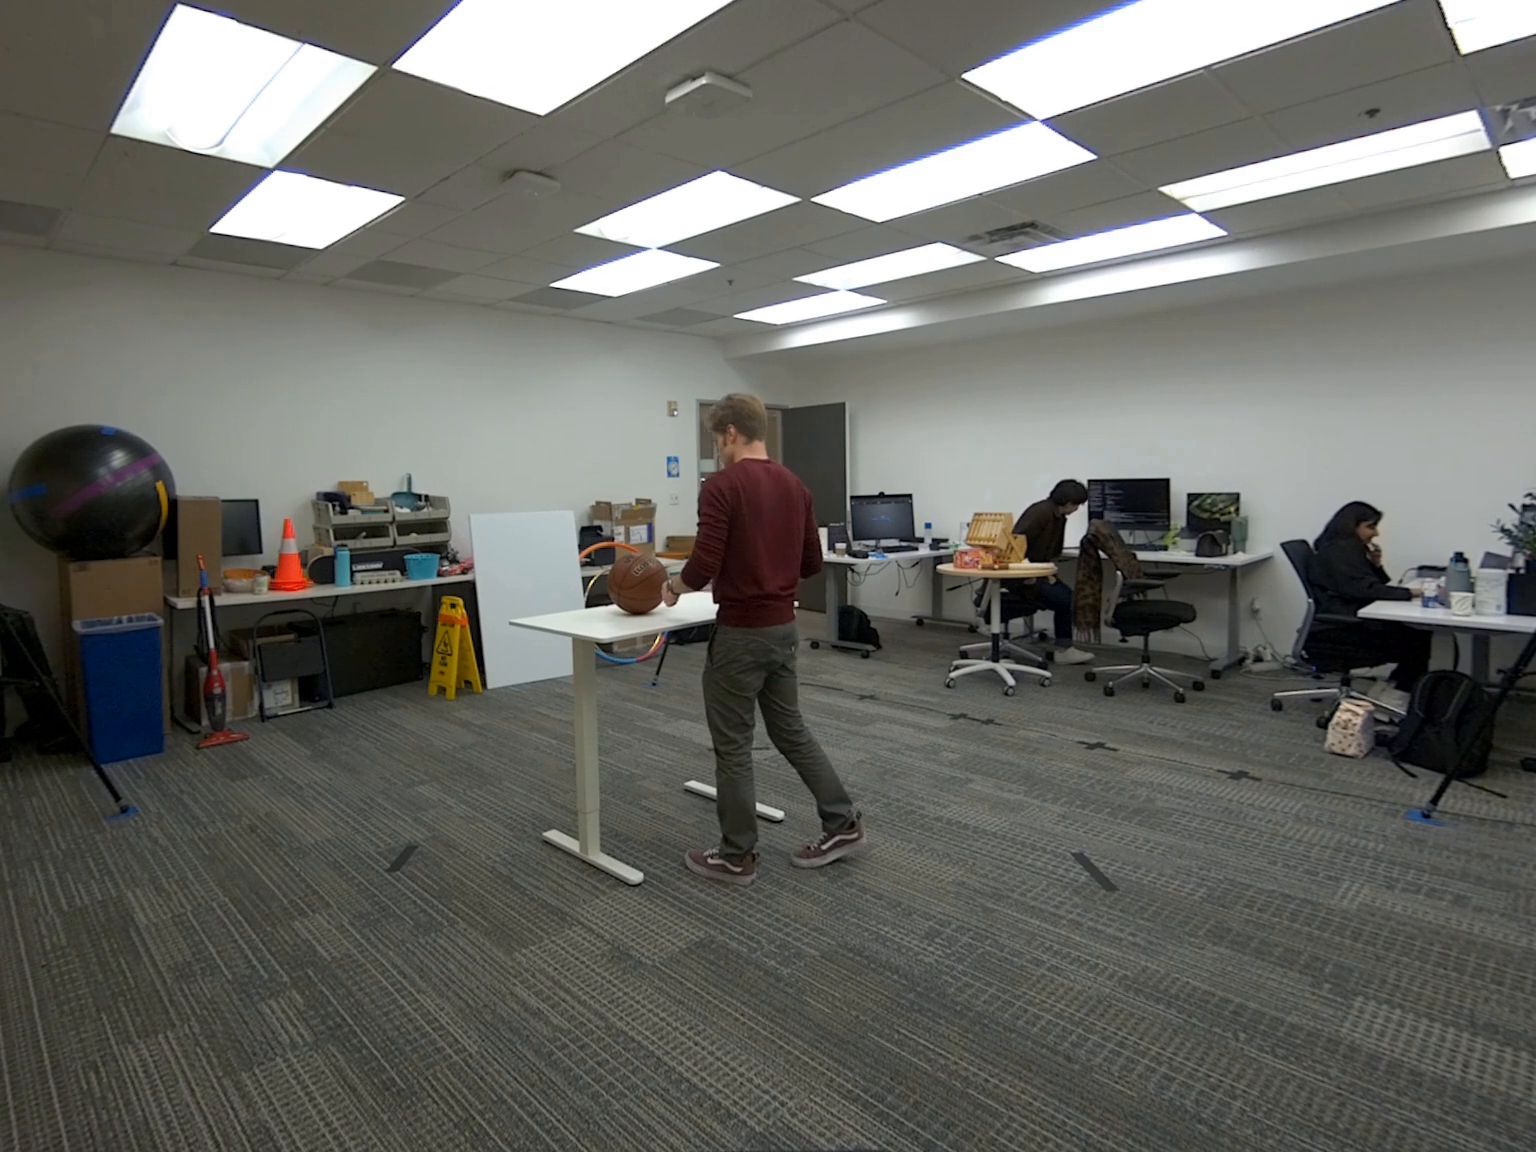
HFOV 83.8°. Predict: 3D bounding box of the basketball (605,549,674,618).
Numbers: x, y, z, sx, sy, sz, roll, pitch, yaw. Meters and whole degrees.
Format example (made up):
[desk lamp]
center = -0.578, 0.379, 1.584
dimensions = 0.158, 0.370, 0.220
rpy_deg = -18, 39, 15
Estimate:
[basketball]
center = -0.497, 0.023, 3.327
dimensions = 0.236, 0.235, 0.237
rpy_deg = -1, 5, -2
